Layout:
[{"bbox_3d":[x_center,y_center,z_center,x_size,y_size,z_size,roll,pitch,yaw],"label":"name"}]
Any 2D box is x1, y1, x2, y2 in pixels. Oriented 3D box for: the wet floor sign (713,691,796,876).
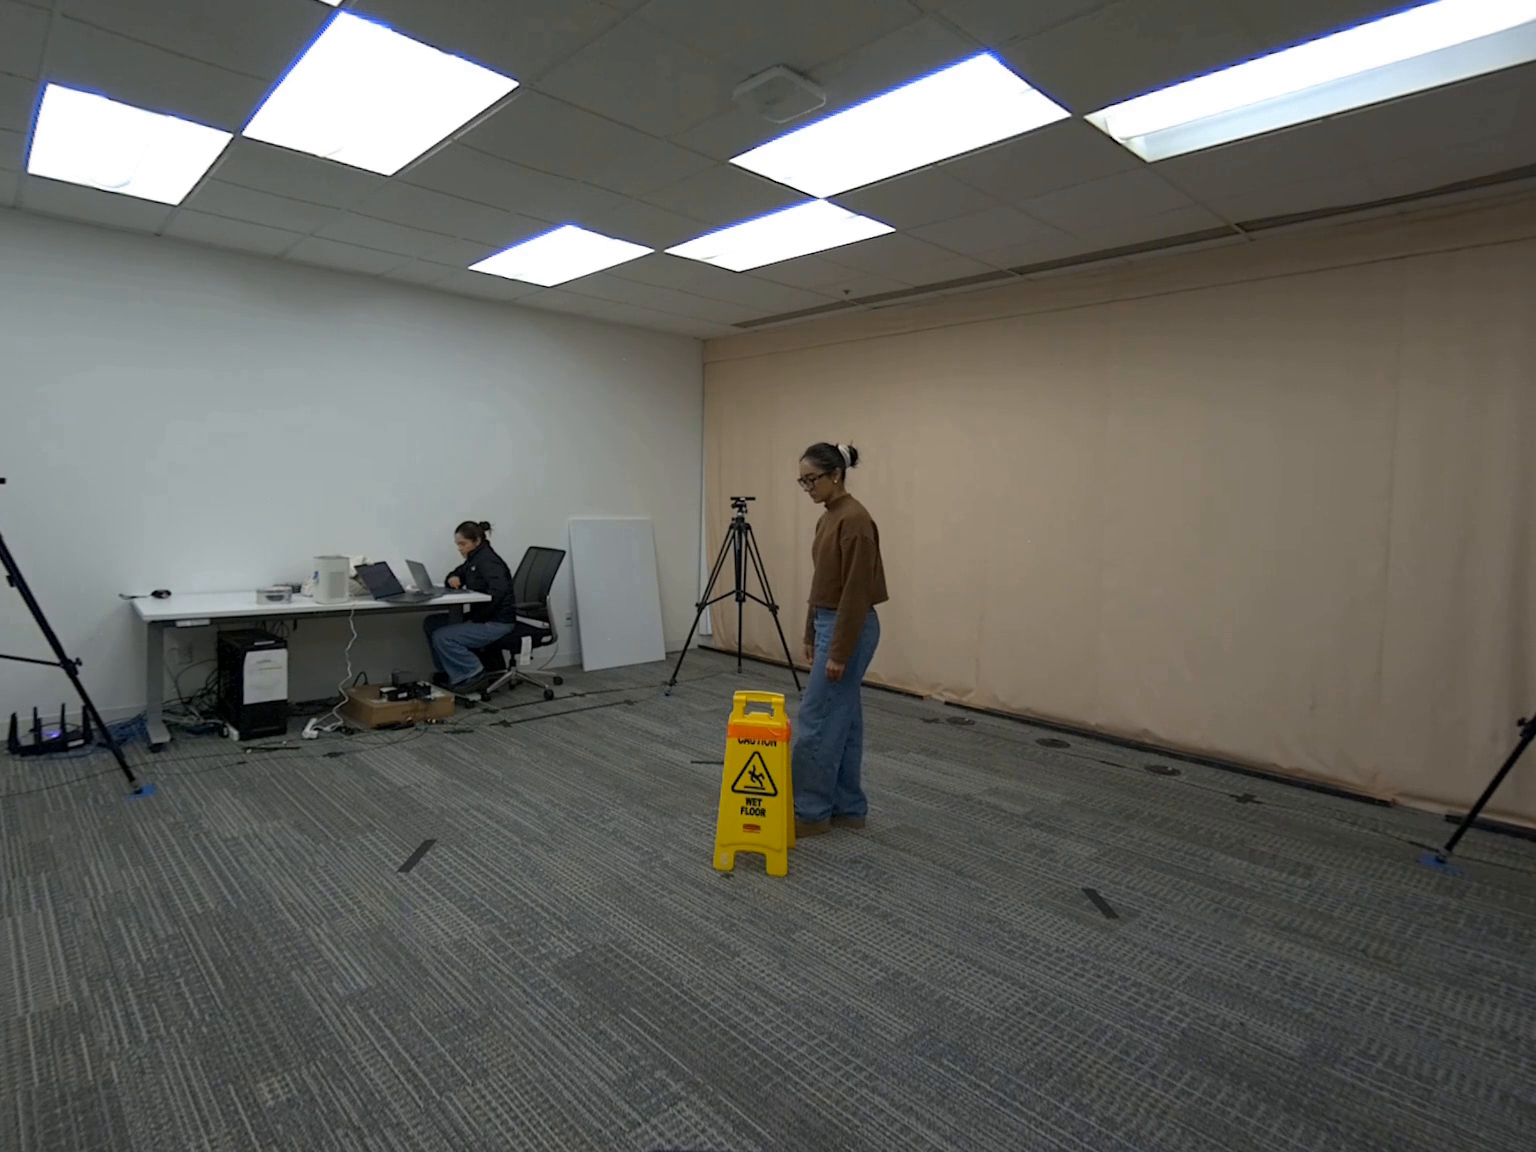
[{"bbox_3d":[-0.054,0.776,3.258,0.285,0.645,0.288,2,2,10],"label":"wet floor sign"}]
